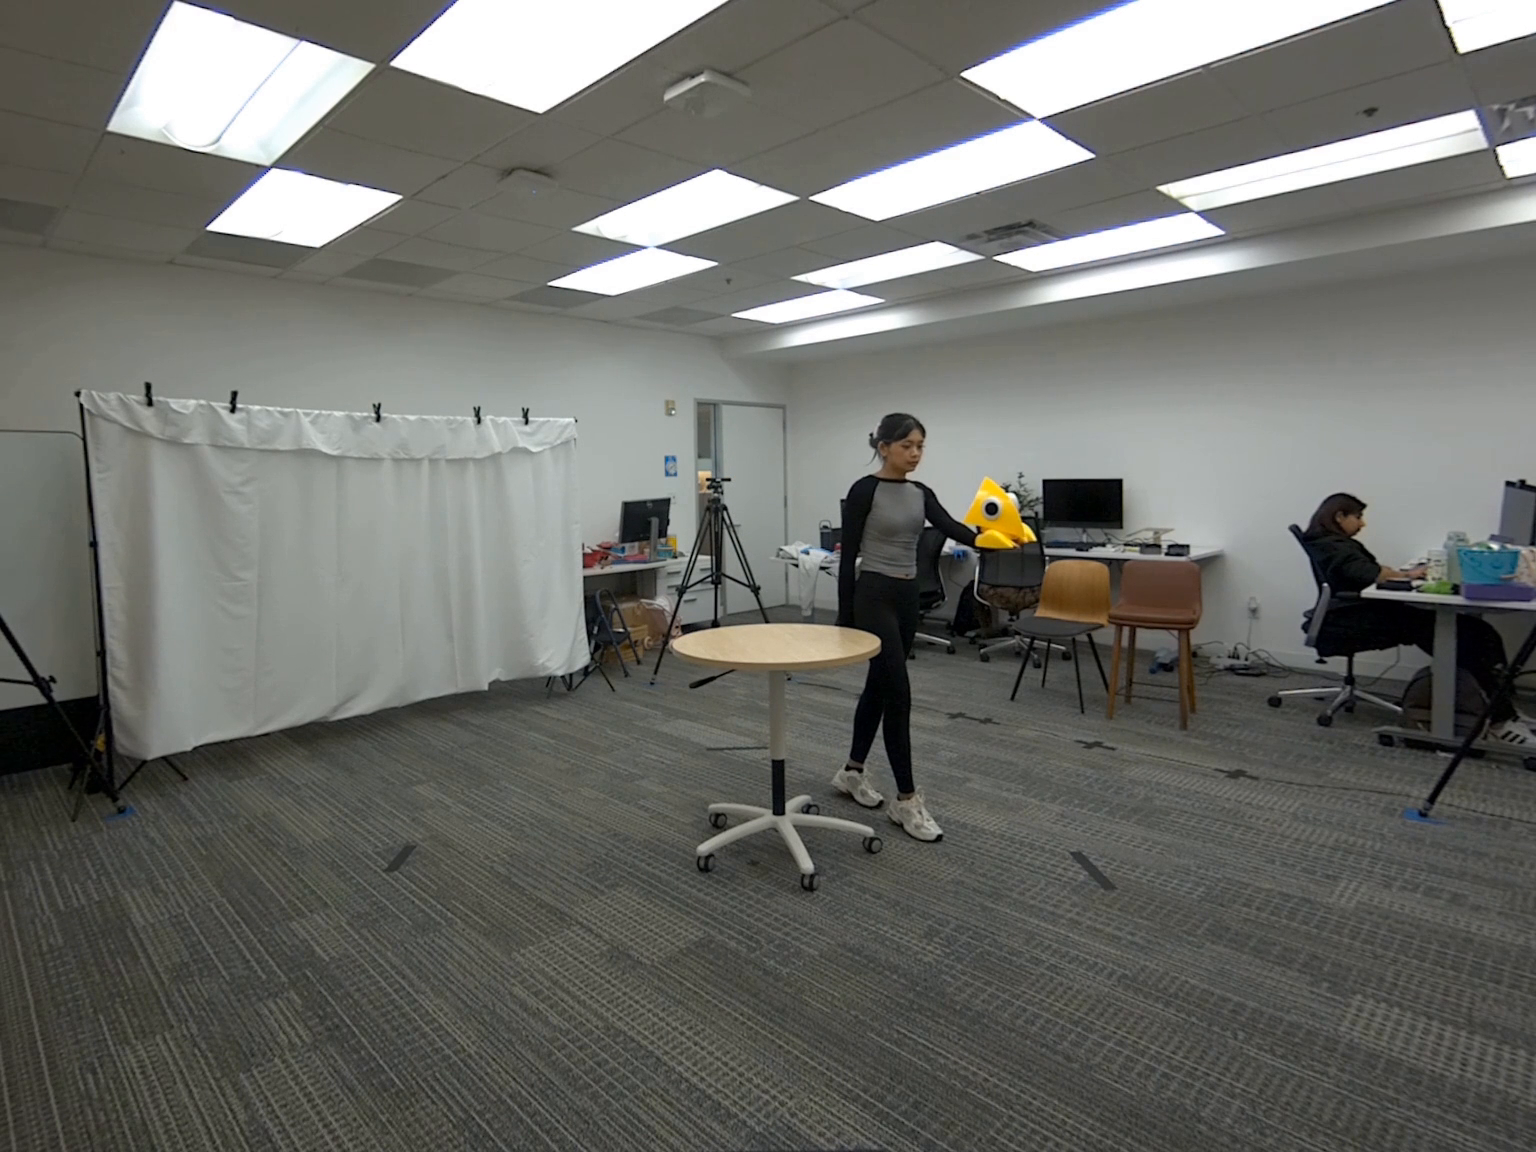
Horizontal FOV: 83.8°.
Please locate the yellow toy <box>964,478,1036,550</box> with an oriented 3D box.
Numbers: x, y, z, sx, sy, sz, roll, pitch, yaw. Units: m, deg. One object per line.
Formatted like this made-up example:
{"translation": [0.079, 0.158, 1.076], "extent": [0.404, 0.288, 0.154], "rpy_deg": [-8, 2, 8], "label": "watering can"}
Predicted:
{"translation": [0.821, -0.231, 2.993], "extent": [0.200, 0.228, 0.199], "rpy_deg": [-11, 12, -34], "label": "yellow toy"}
